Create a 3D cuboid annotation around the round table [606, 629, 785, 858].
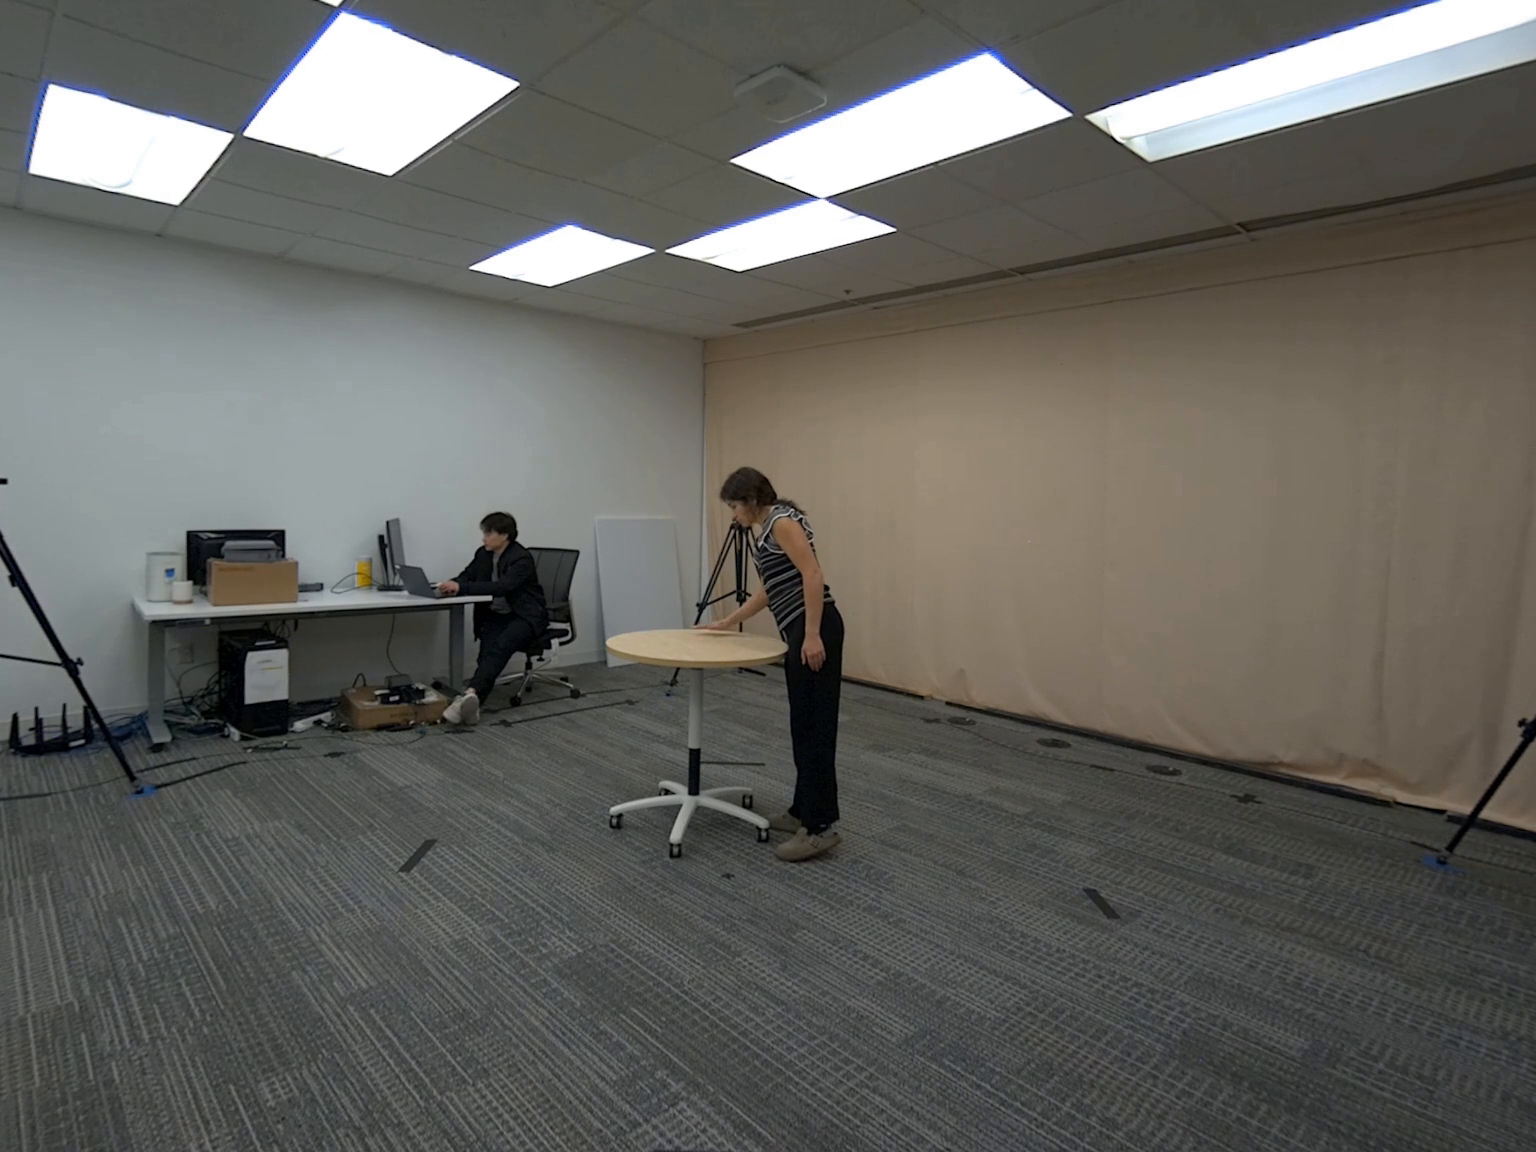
[{"bbox_3d":[-0.318,0.673,3.548,0.763,0.792,0.766,2,4,-1],"label":"round table"}]
